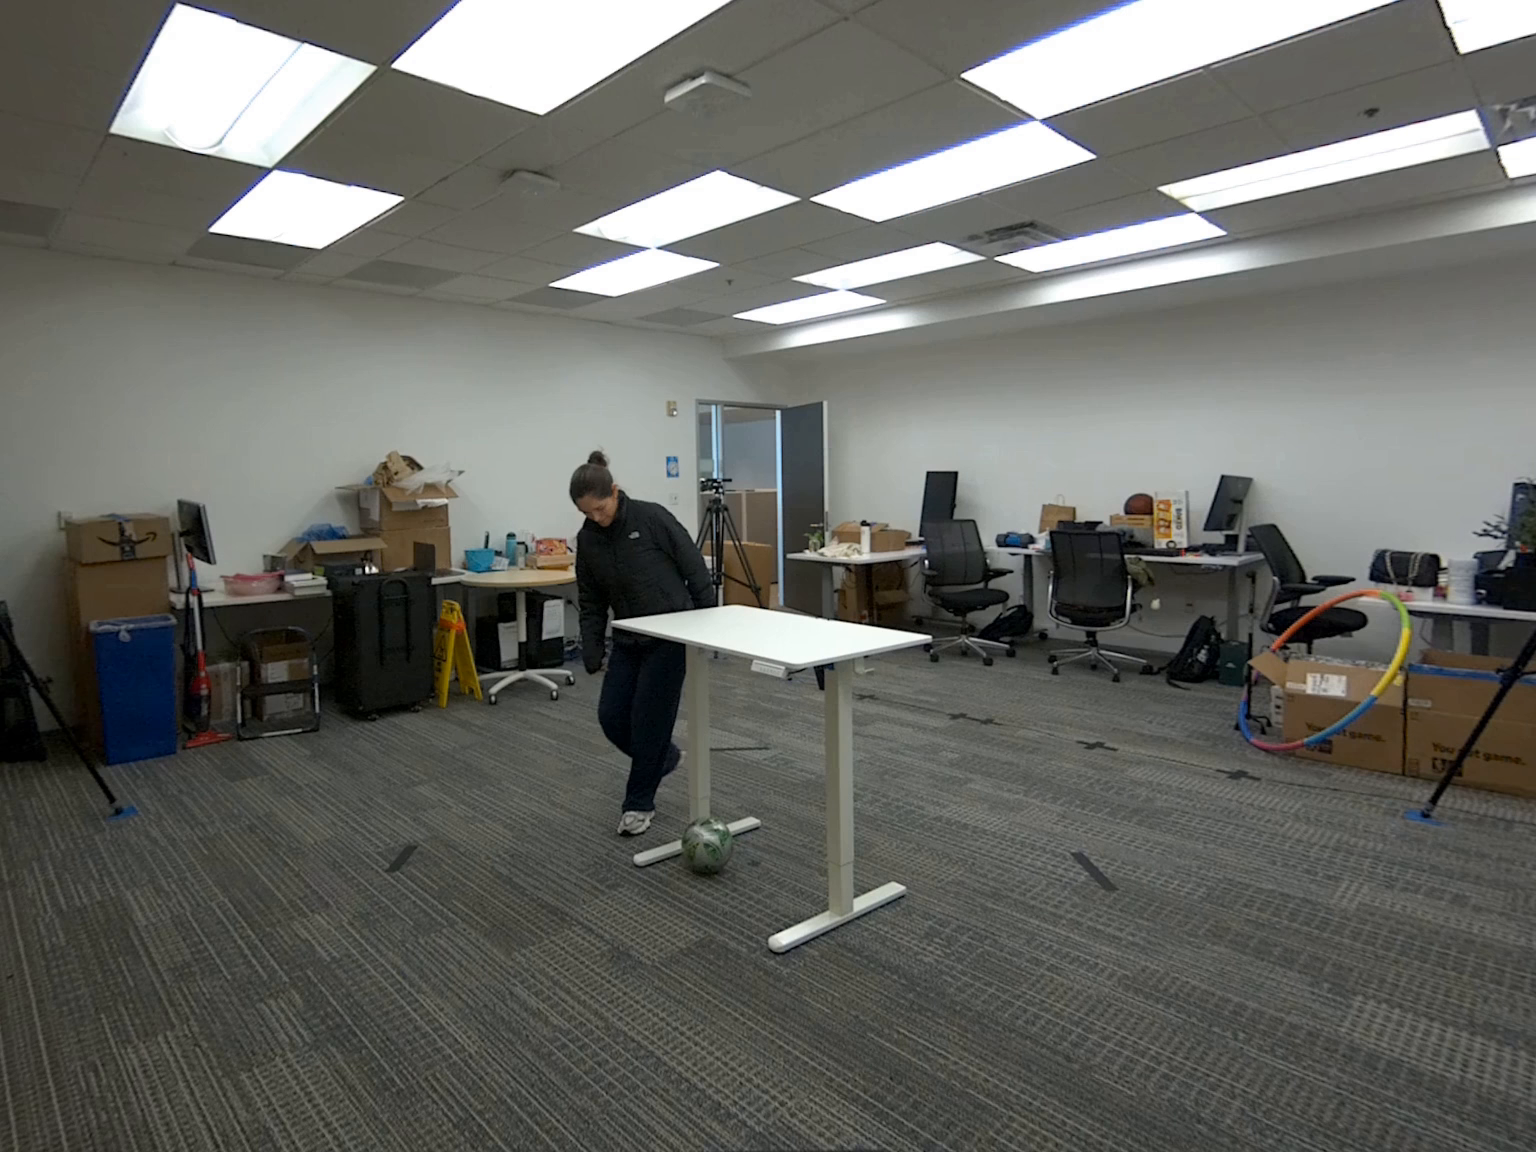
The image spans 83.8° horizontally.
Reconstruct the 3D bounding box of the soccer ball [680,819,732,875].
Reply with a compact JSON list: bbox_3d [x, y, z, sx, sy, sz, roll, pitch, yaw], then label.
[{"bbox_3d":[-0.213,0.964,3.049,0.187,0.187,0.188,-1,5,-2],"label":"soccer ball"}]
